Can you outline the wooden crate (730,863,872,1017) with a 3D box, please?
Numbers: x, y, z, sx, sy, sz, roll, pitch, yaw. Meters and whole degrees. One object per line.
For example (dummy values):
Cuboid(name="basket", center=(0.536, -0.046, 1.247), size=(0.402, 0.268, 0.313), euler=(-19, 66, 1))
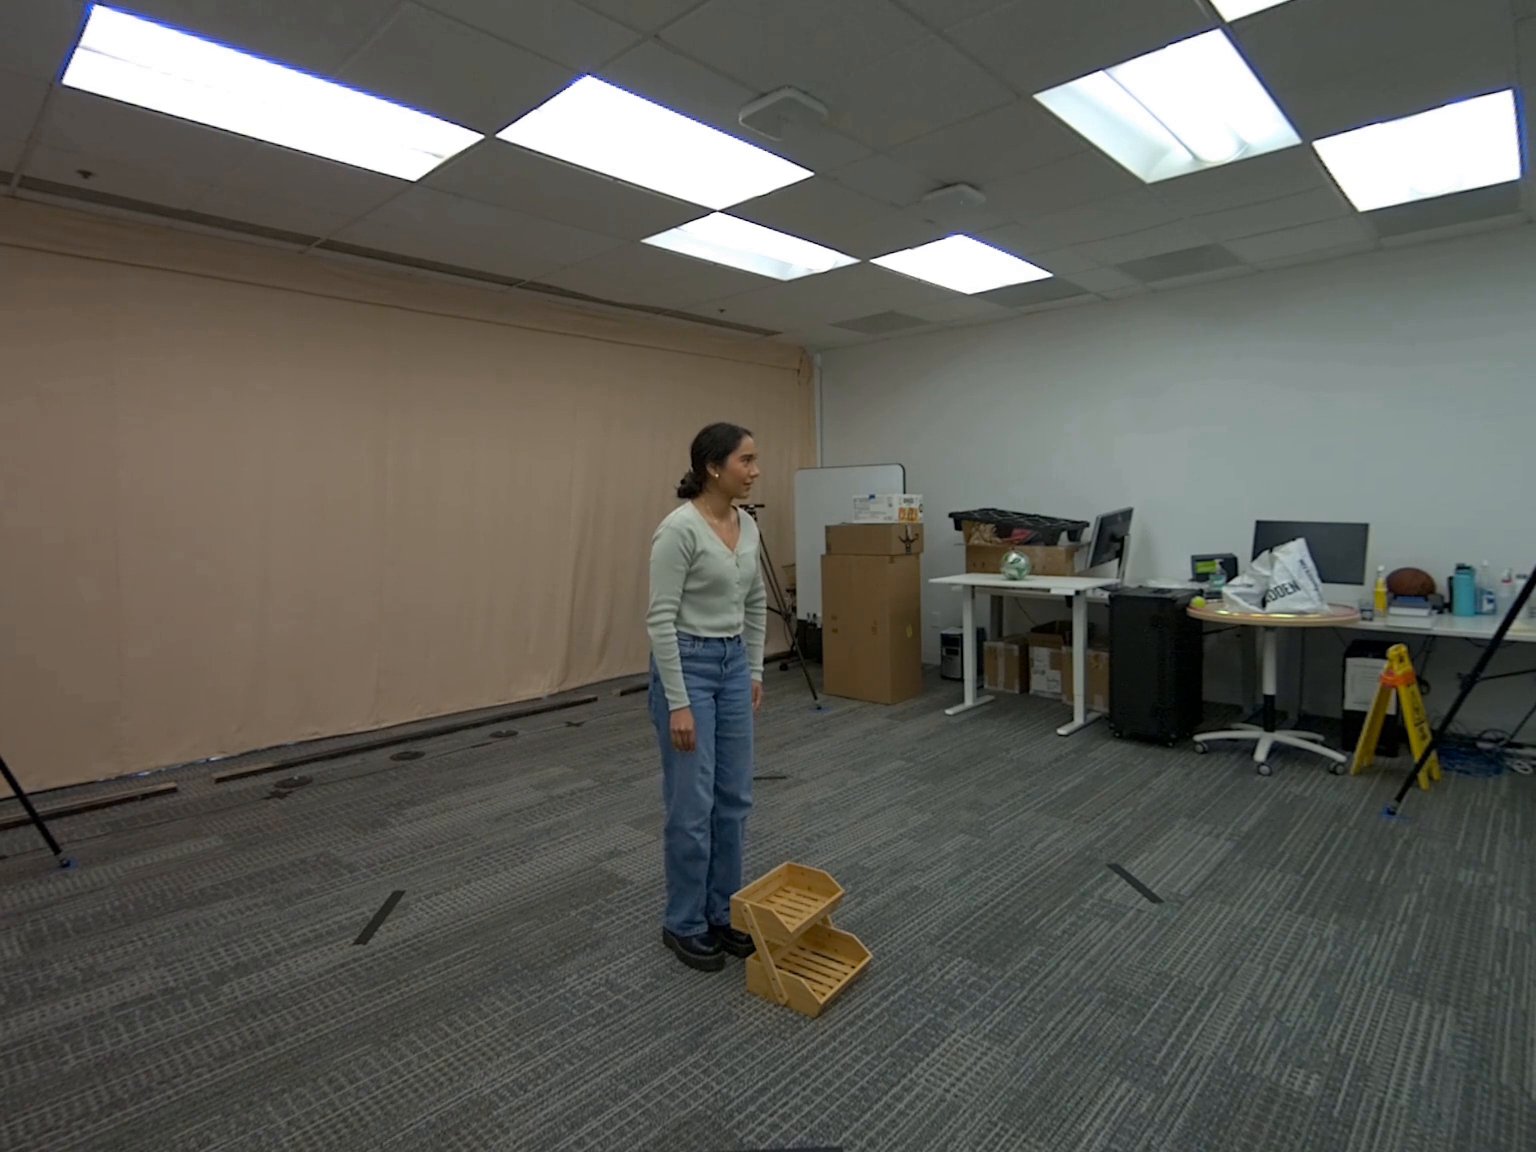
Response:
Cuboid(name="wooden crate", center=(0.109, 1.048, 2.464), size=(0.311, 0.273, 0.315), euler=(1, 4, 36))
